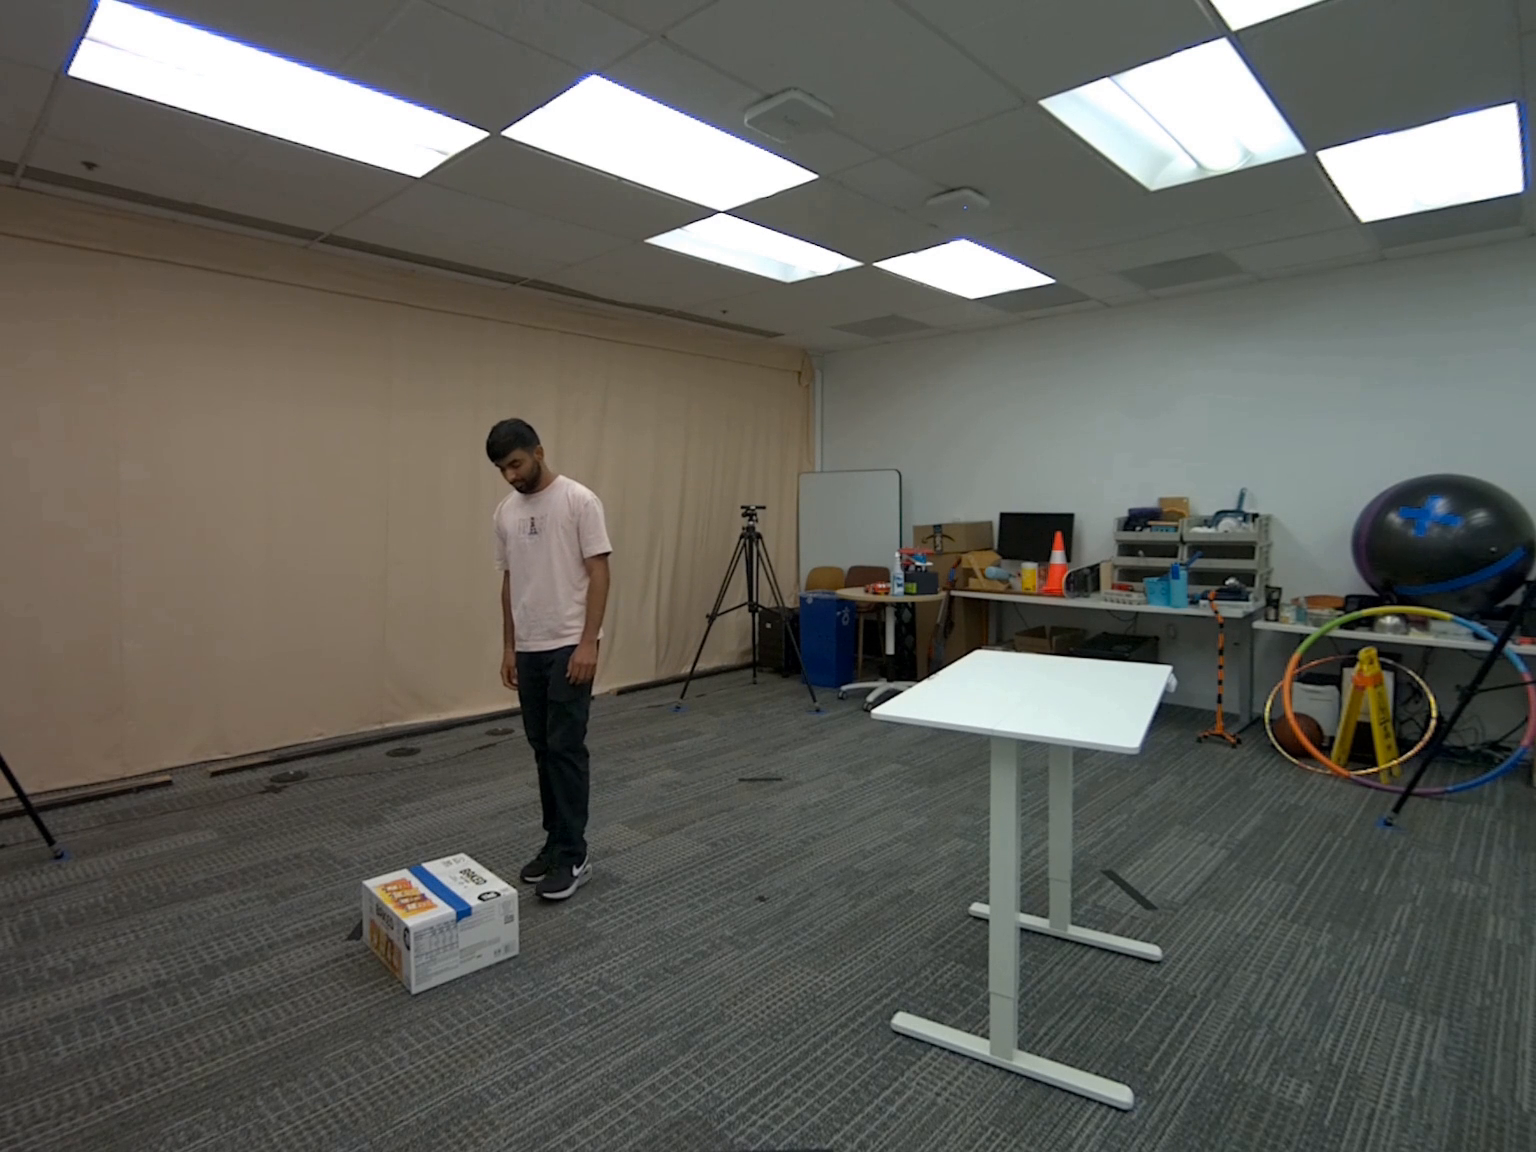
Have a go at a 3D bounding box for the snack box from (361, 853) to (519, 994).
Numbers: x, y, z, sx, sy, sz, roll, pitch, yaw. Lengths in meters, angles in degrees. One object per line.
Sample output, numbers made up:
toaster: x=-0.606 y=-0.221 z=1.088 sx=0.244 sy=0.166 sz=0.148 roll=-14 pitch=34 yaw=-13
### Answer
snack box: x=-1.043 y=1.084 z=2.648 sx=0.330 sy=0.205 sz=0.419 roll=-4 pitch=6 yaw=-42
